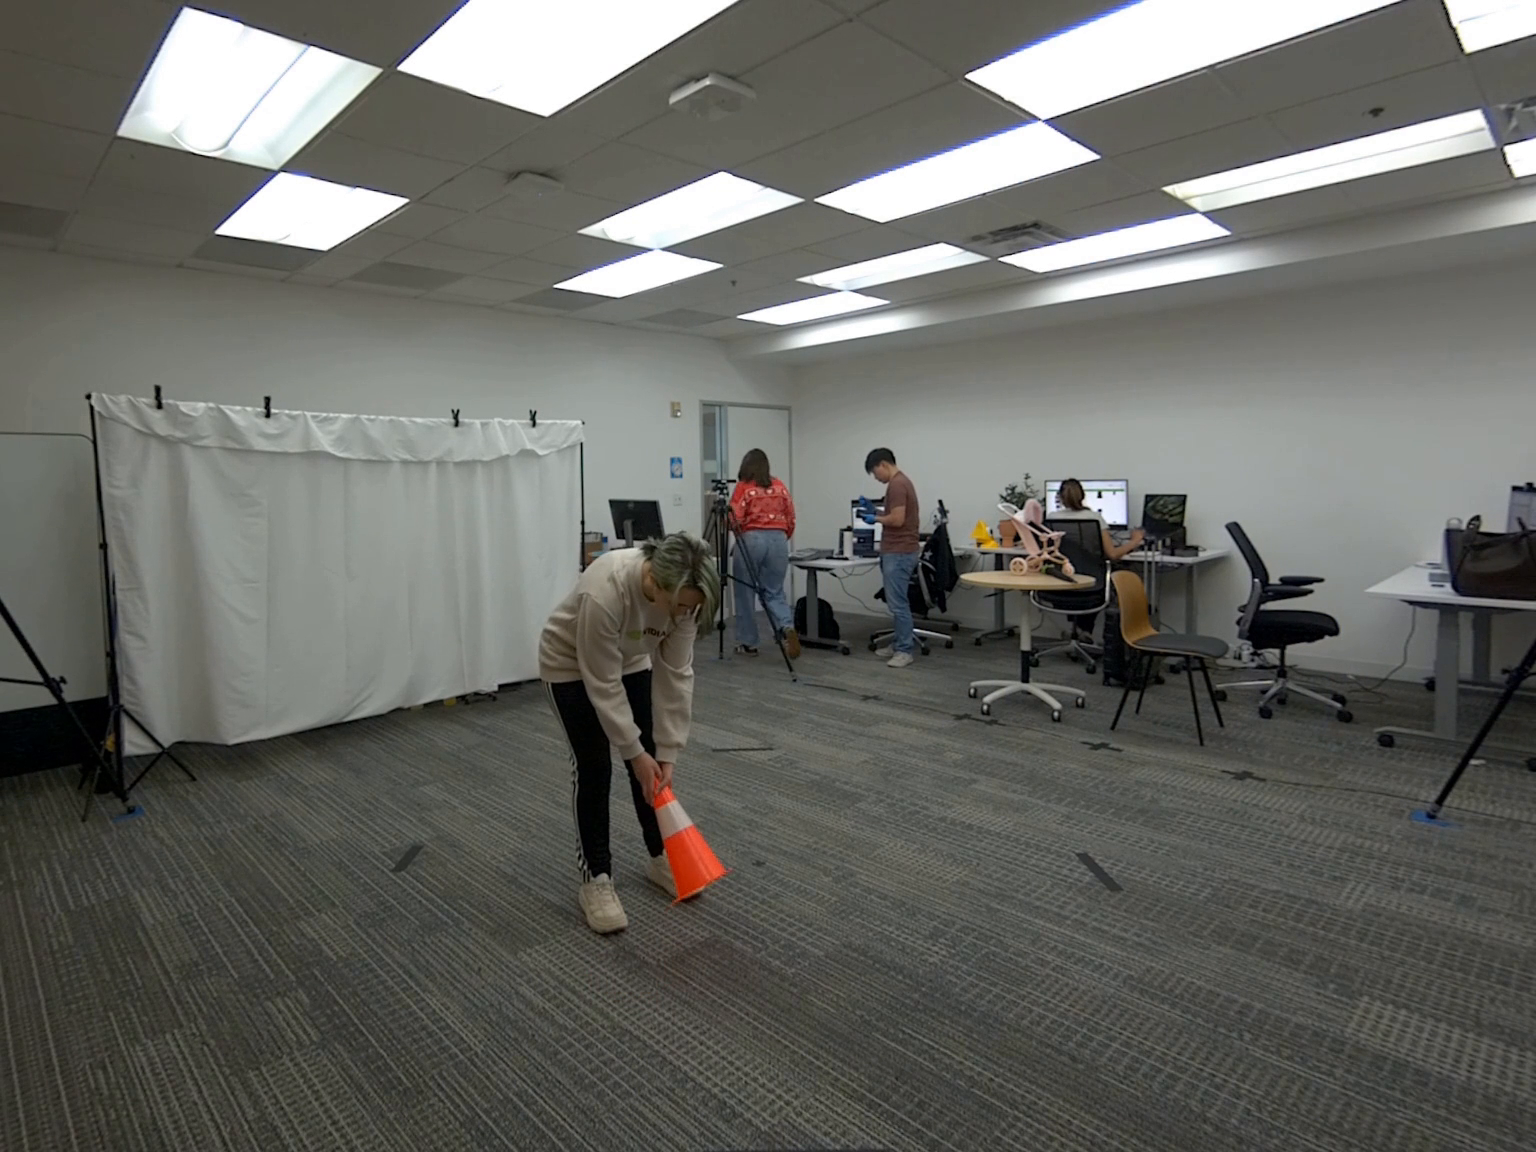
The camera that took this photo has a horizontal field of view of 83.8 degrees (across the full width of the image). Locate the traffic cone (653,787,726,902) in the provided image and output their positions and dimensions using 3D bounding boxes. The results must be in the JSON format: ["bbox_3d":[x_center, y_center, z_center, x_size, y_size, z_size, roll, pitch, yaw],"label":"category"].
[{"bbox_3d":[-0.279,0.761,2.577,0.203,0.392,0.201,-27,-16,-7],"label":"traffic cone"}]
